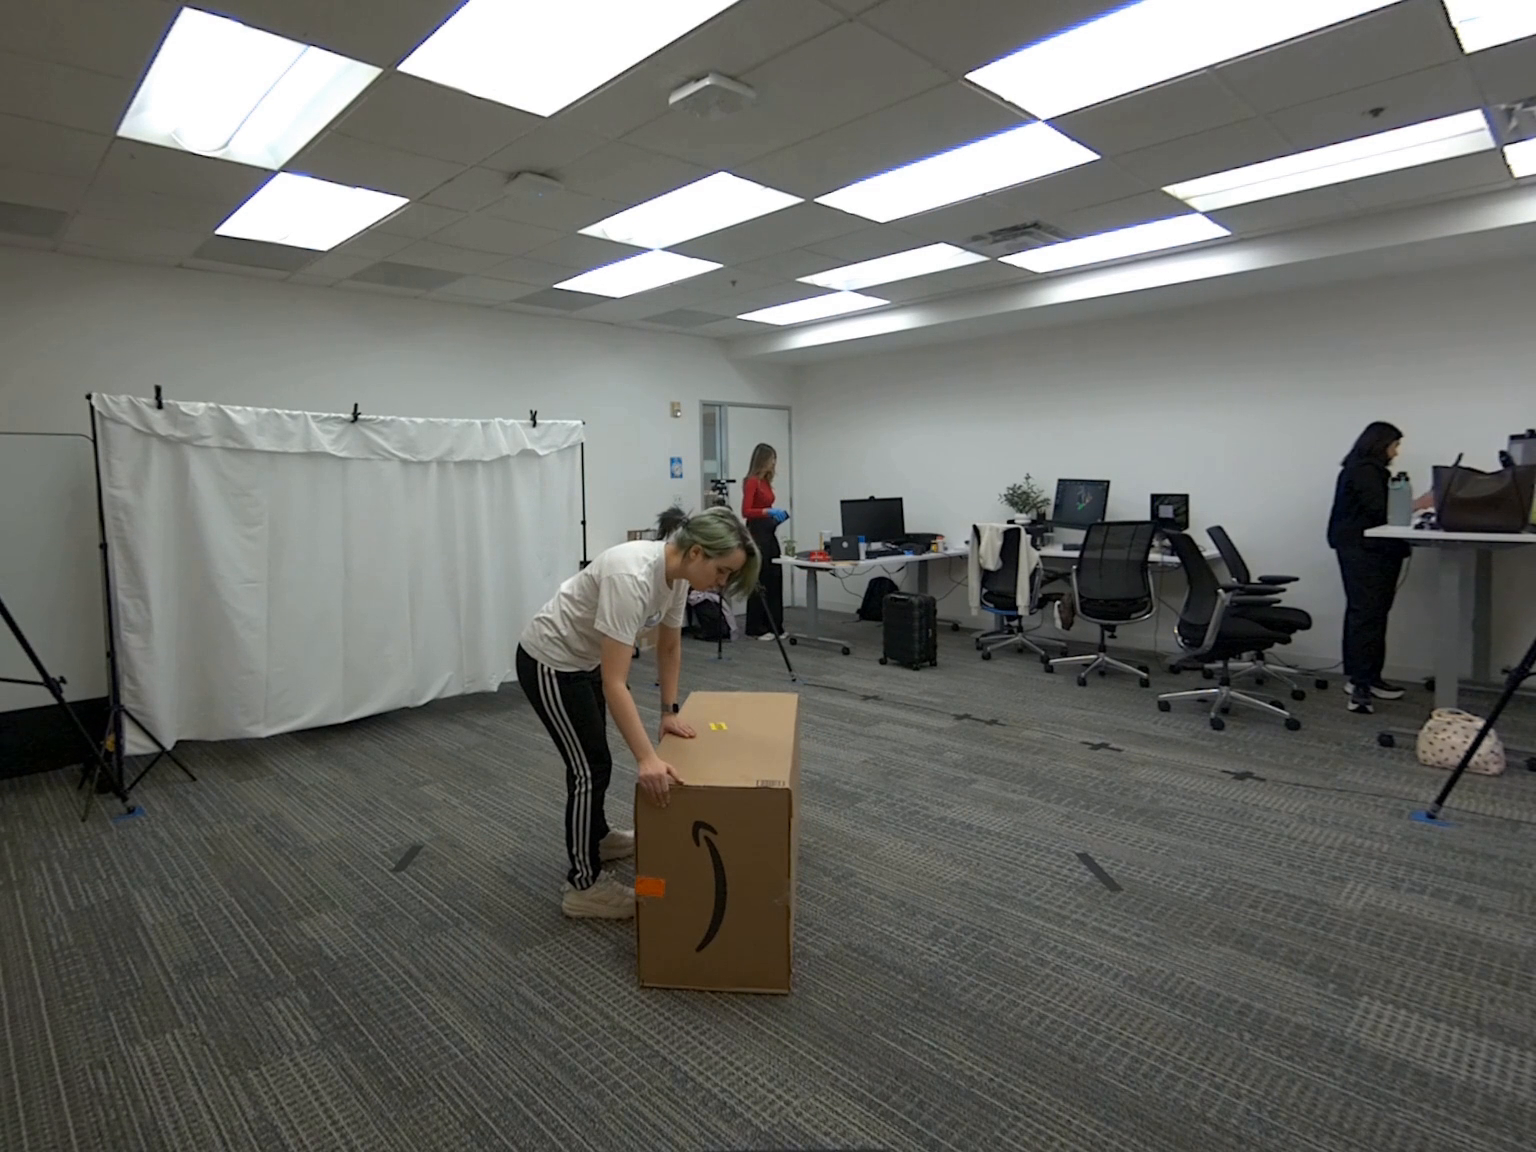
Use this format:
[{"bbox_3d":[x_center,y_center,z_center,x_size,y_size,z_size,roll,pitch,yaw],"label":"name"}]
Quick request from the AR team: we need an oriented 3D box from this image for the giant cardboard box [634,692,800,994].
[{"bbox_3d":[-0.119,0.793,2.828,0.428,0.575,1.025,0,6,4],"label":"giant cardboard box"}]
